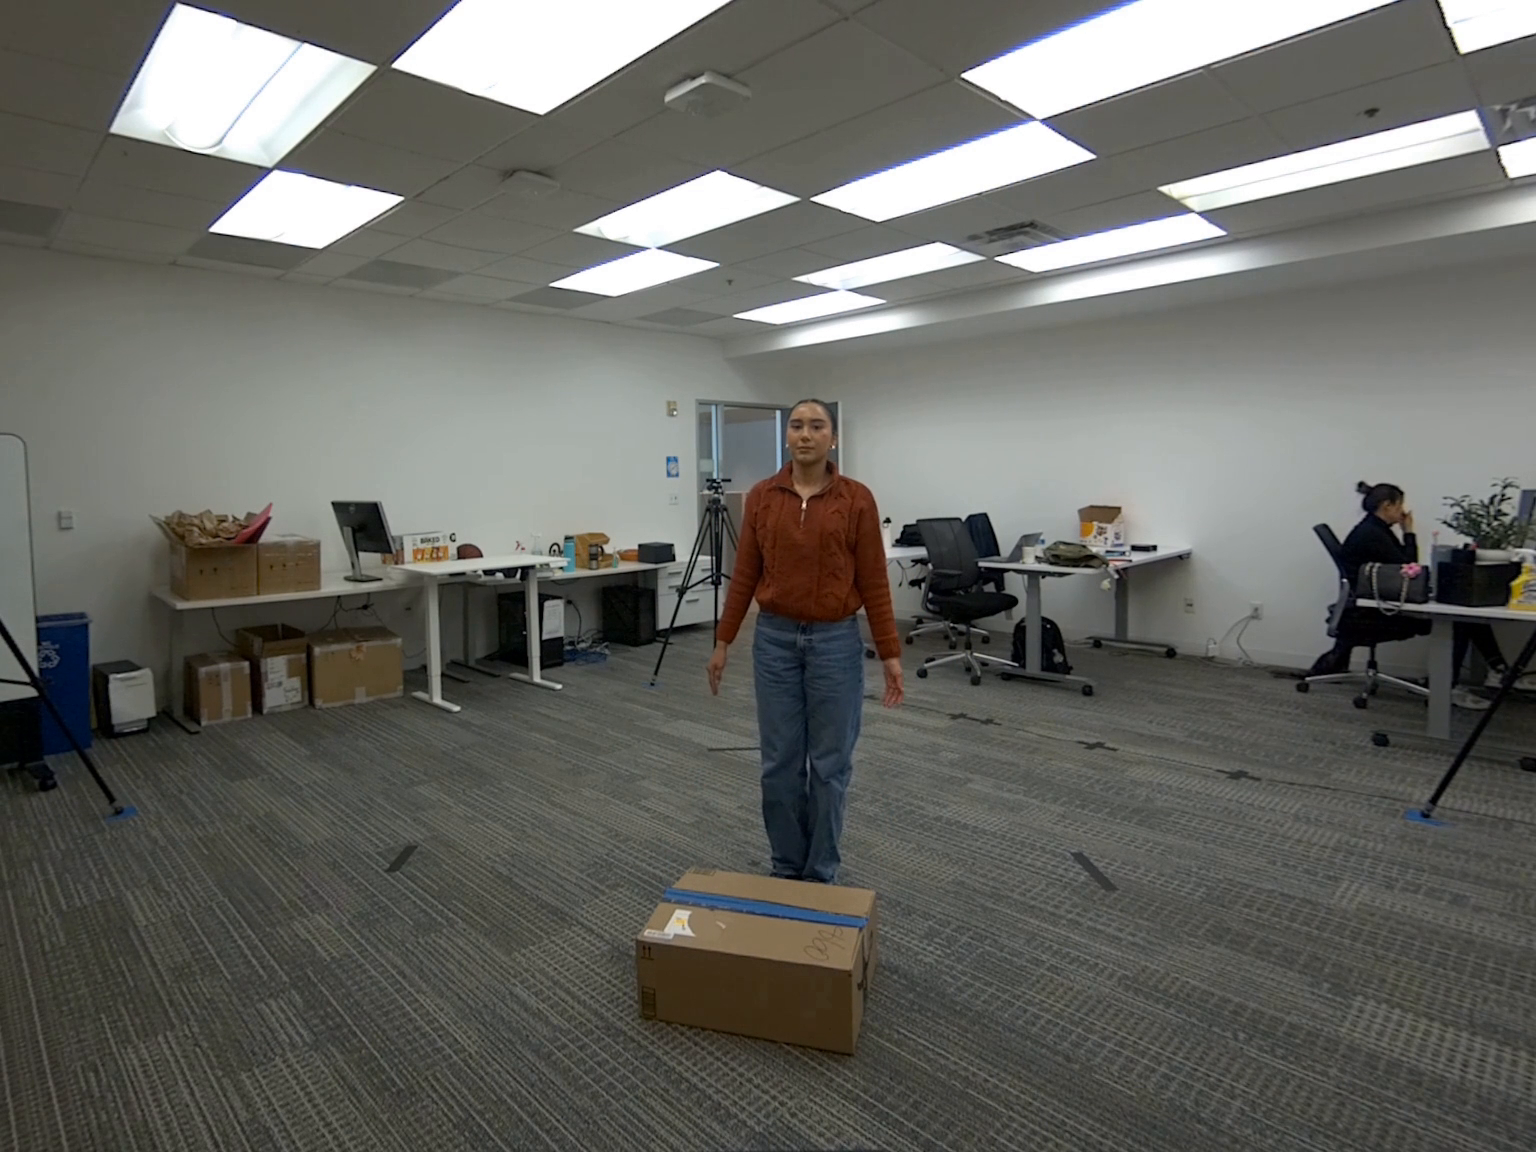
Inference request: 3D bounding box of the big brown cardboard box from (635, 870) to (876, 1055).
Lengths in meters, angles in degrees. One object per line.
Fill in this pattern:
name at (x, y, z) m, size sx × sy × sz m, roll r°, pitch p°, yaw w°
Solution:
big brown cardboard box at (-0.015, 1.018, 2.337) m, size 0.598 × 0.232 × 0.413 m, roll 1°, pitch 6°, yaw 16°
